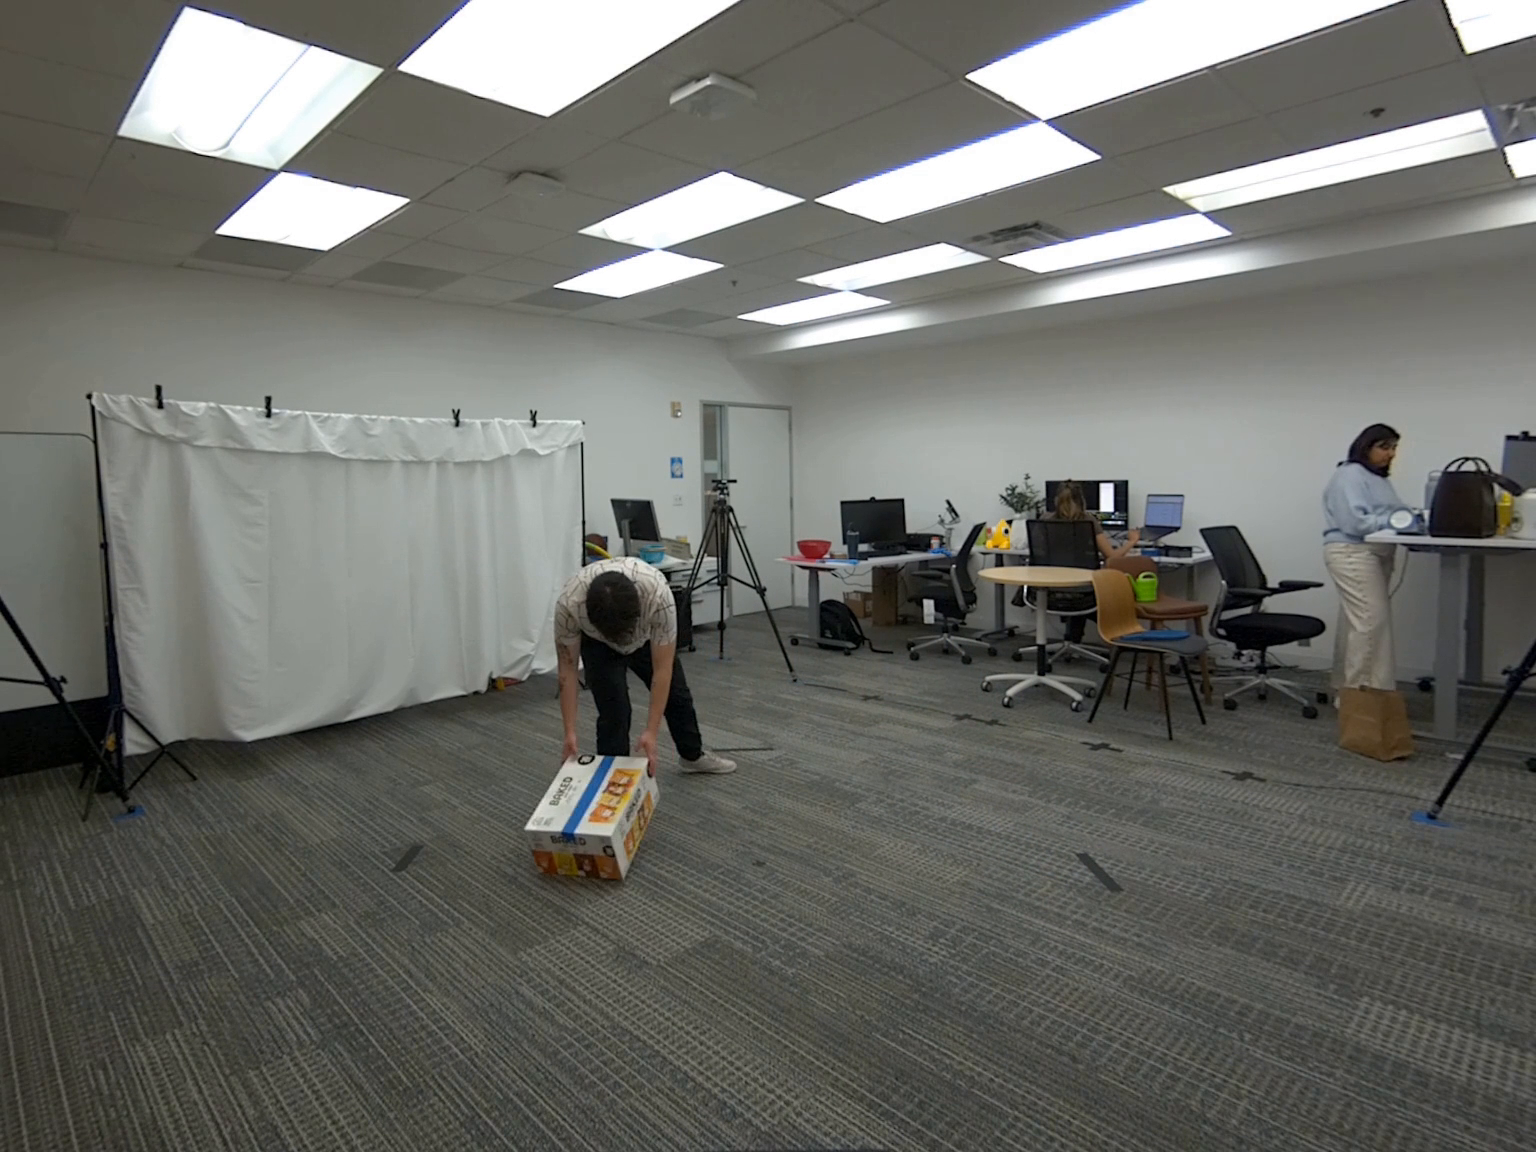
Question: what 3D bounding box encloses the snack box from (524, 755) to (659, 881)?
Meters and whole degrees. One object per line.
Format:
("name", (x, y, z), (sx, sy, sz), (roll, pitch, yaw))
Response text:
("snack box", (-0.639, 0.881, 3.163), (0.345, 0.201, 0.409), (-2, 28, 16))
